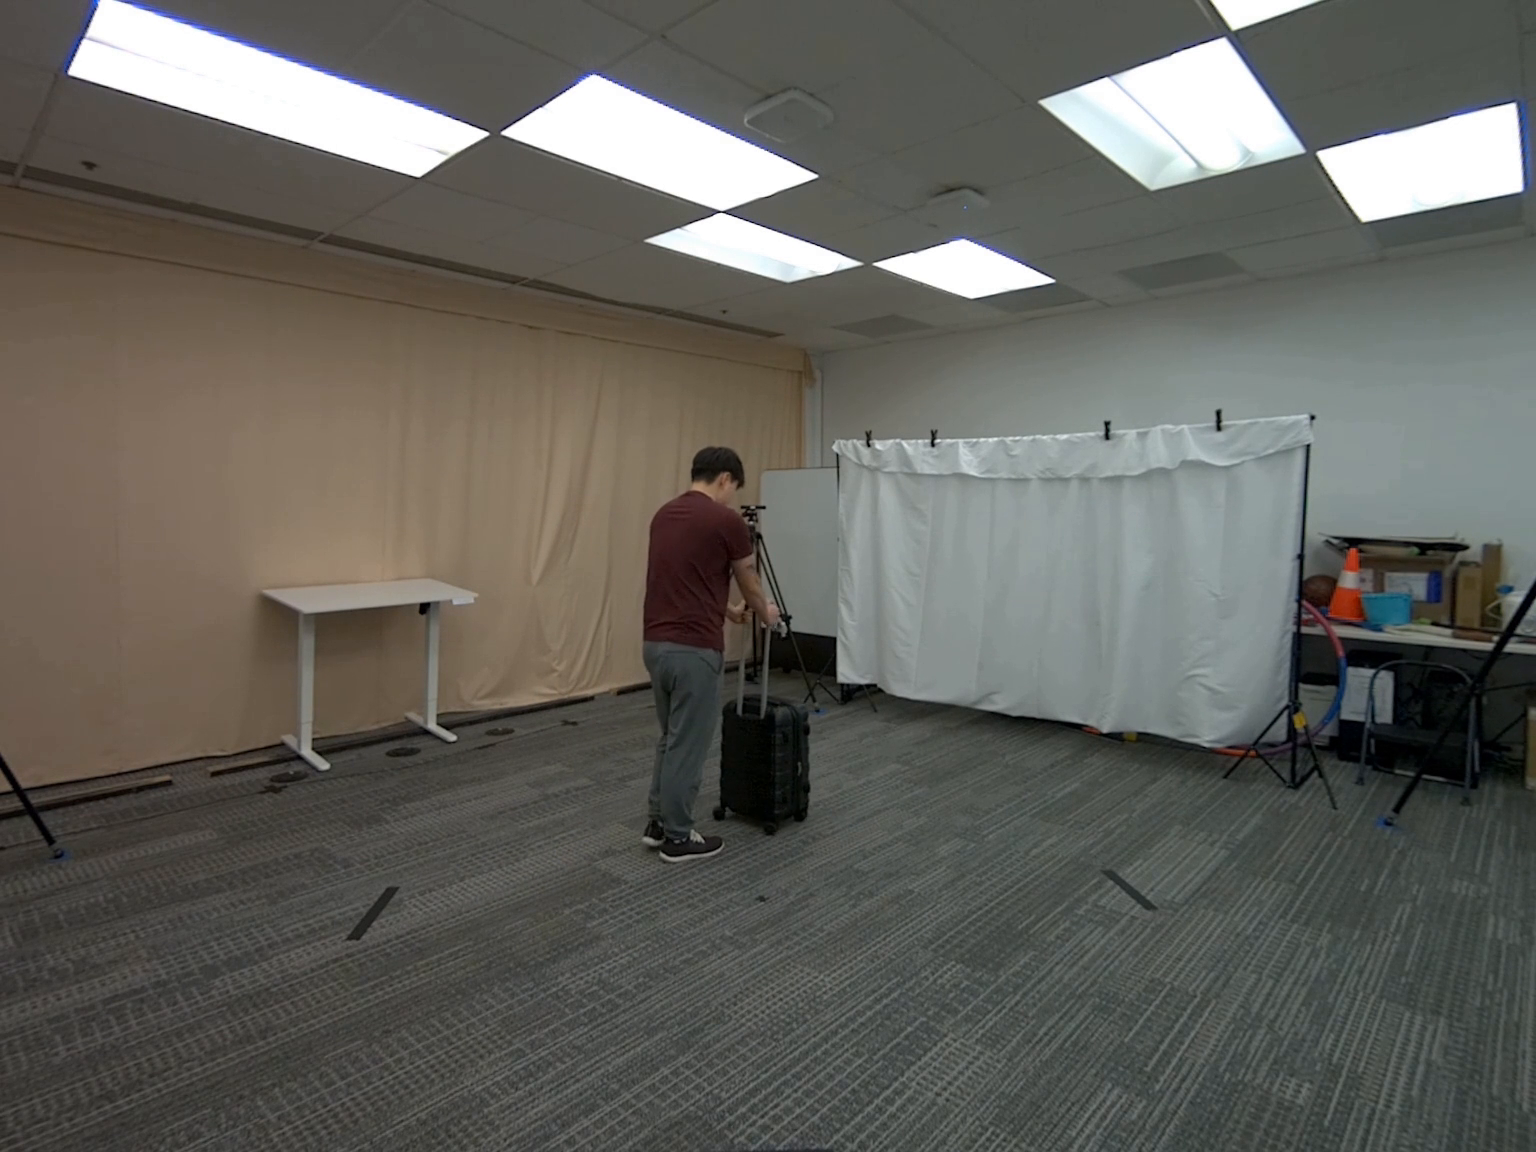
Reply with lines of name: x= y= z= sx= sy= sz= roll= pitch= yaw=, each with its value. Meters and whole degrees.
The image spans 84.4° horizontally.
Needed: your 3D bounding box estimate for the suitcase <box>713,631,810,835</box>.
suitcase: x=-0.007 y=0.608 z=3.734 sx=0.397 sy=0.978 sz=0.249 roll=3 pitch=1 yaw=40
